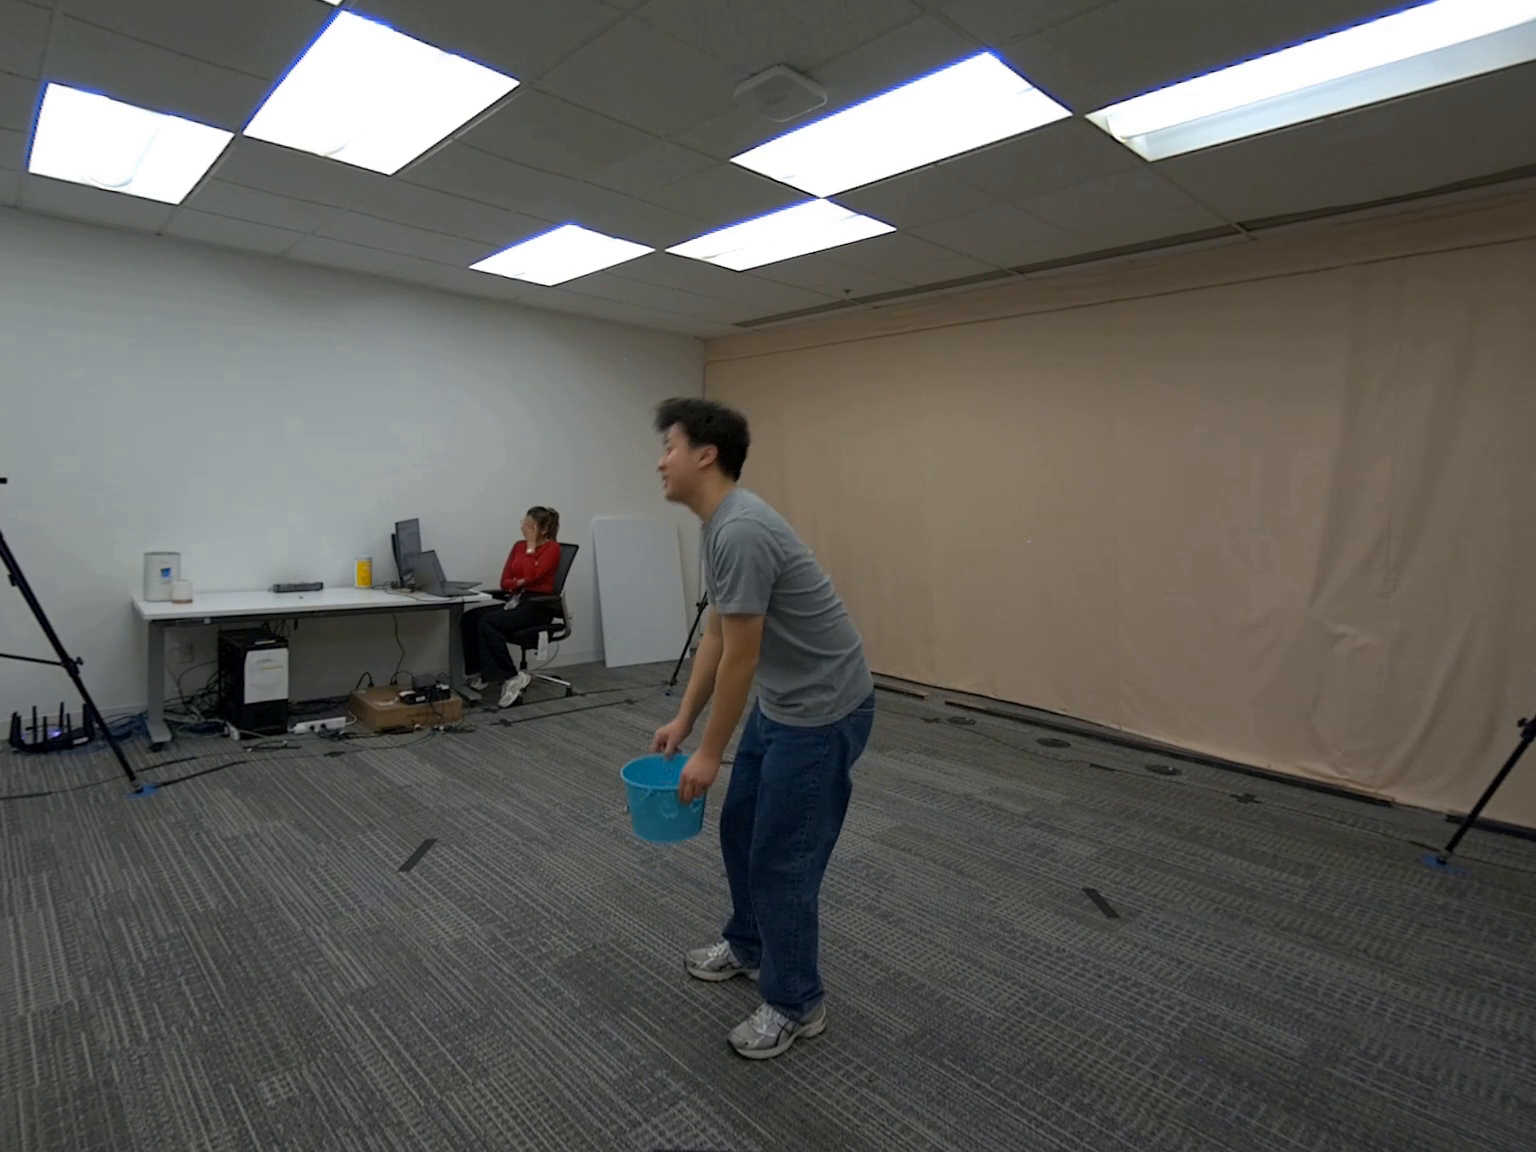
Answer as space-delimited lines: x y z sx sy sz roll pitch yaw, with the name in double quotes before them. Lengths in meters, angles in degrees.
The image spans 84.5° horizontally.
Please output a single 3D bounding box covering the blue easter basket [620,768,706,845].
"blue easter basket" -0.256 0.649 2.171 0.243 0.155 0.245 5 10 -2
